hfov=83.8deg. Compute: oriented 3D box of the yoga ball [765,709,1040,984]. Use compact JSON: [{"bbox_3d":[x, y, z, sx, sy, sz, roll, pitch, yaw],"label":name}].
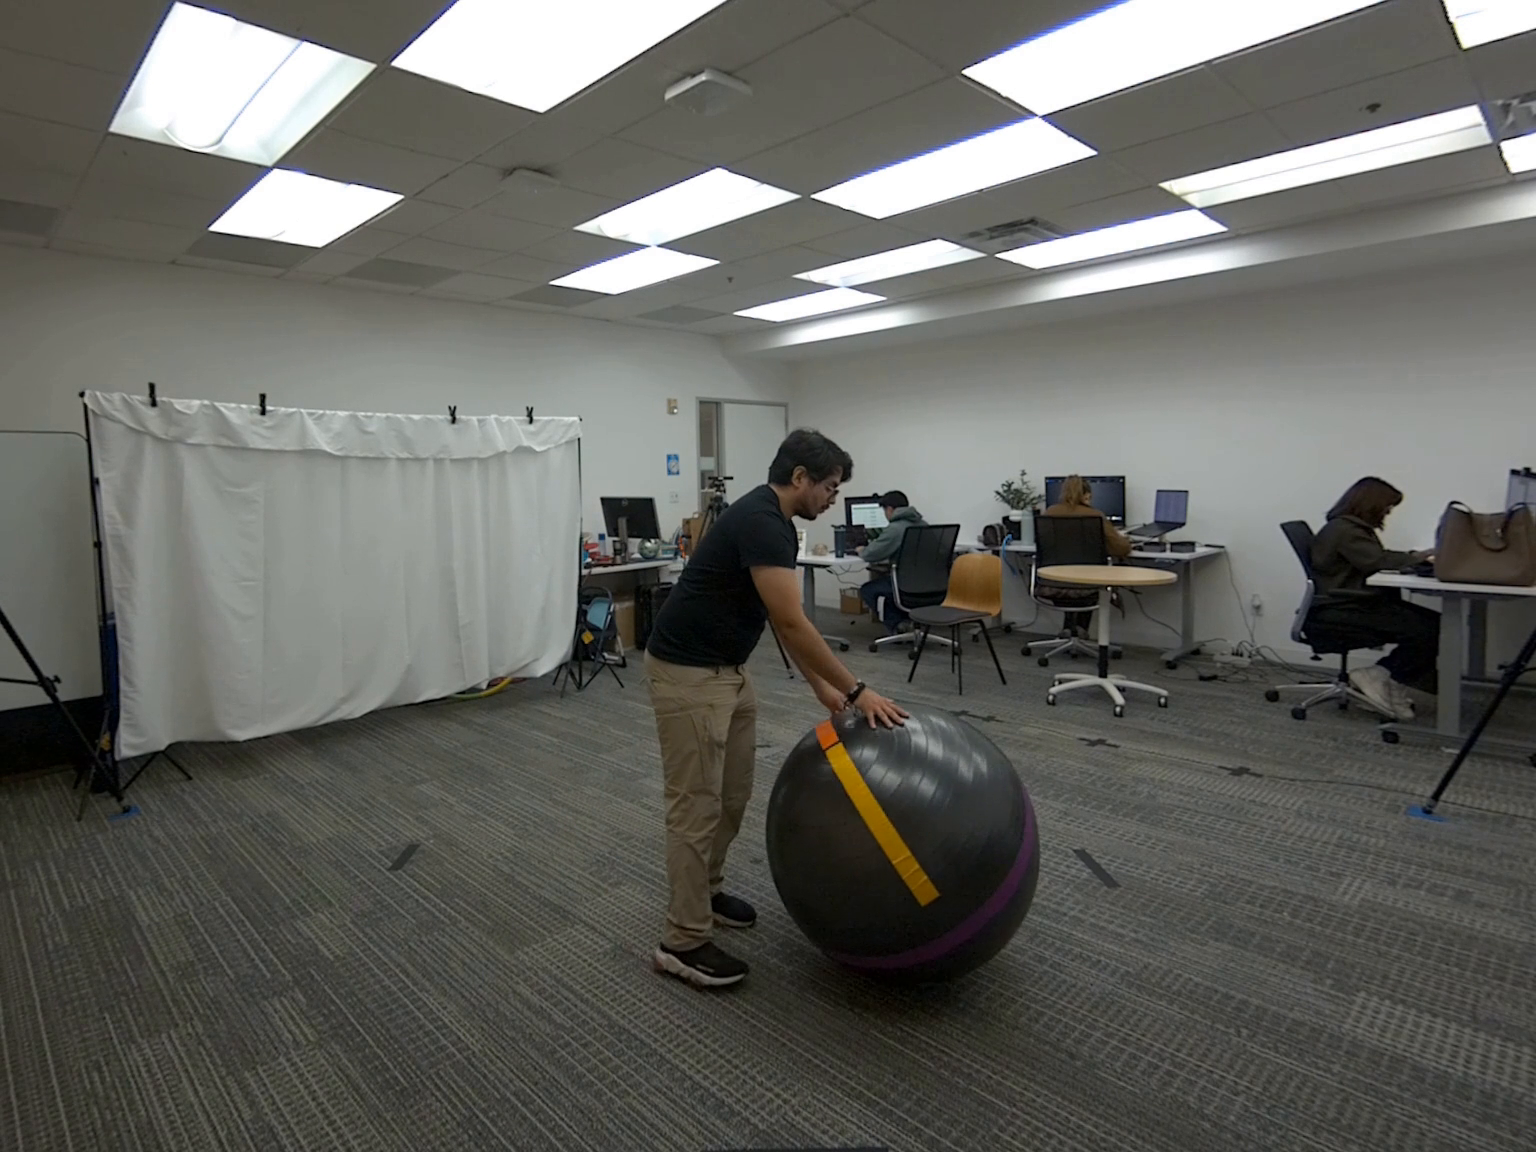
[{"bbox_3d":[0.383,0.739,2.426,0.757,0.755,0.762,-1,5,-2],"label":"yoga ball"}]
